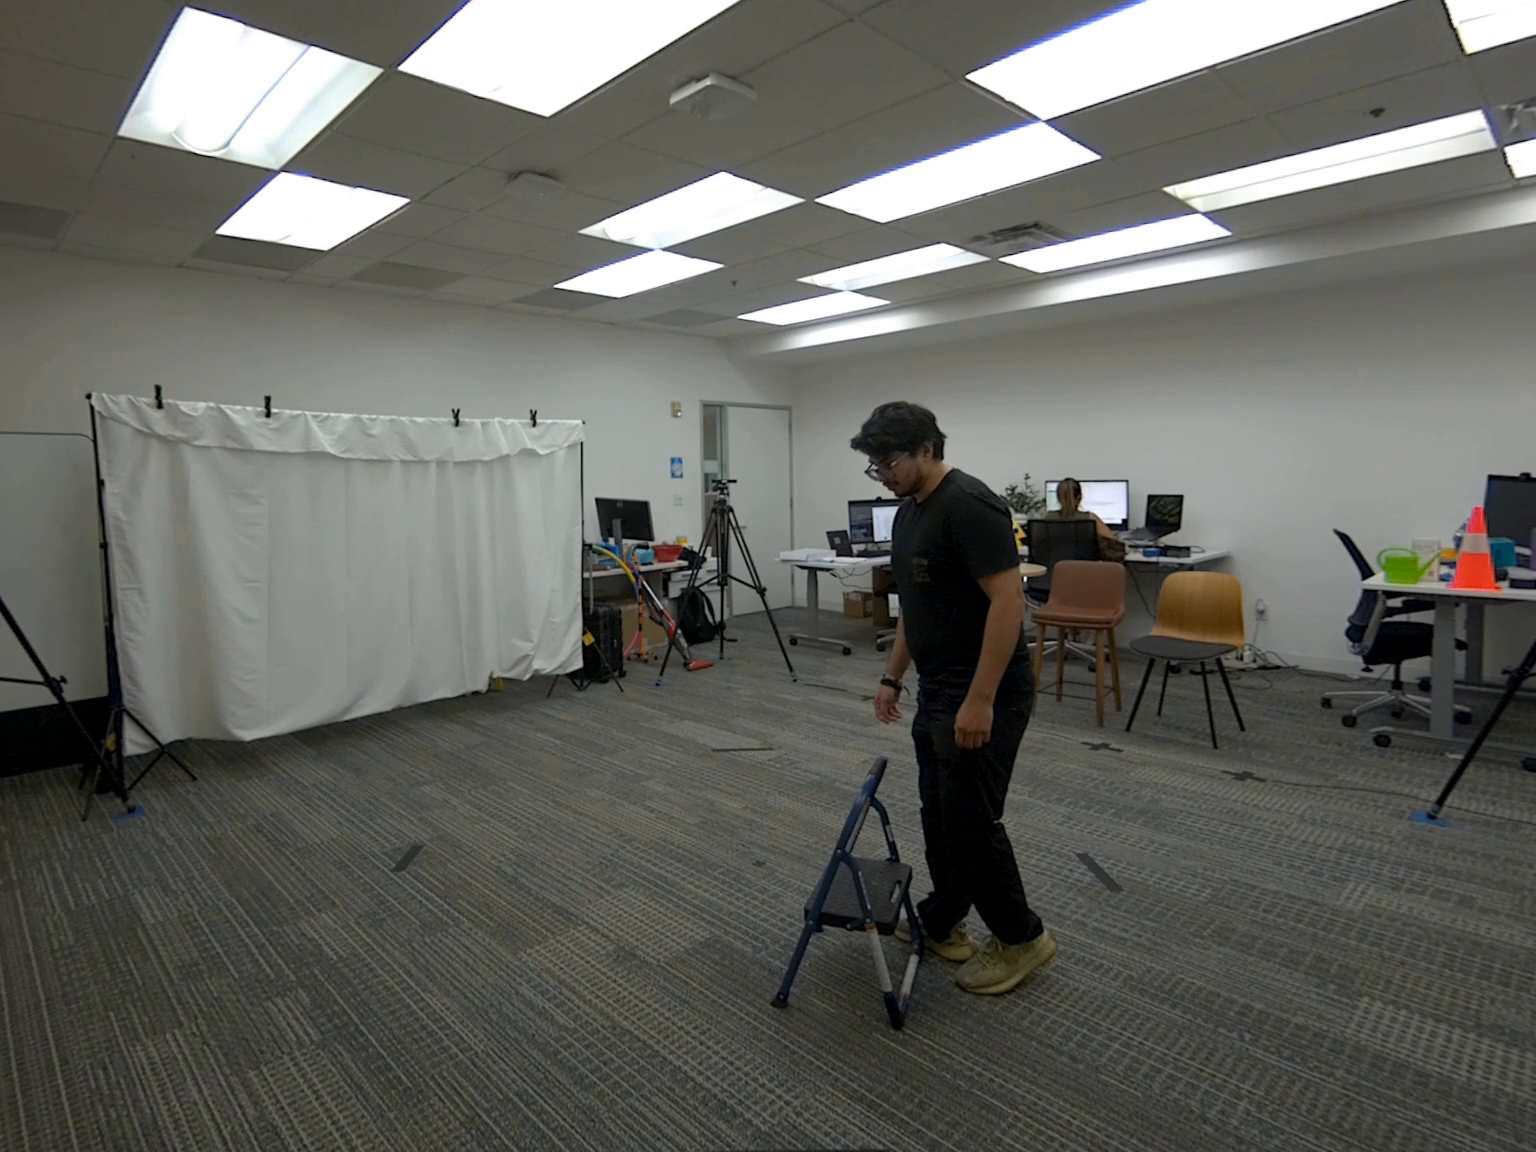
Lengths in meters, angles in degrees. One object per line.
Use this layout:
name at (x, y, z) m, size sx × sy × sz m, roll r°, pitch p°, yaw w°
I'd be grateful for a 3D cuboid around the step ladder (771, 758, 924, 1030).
step ladder at (0.245, 0.828, 2.379) m, size 0.355 × 0.604 × 0.425 m, roll 1°, pitch 5°, yaw 18°
